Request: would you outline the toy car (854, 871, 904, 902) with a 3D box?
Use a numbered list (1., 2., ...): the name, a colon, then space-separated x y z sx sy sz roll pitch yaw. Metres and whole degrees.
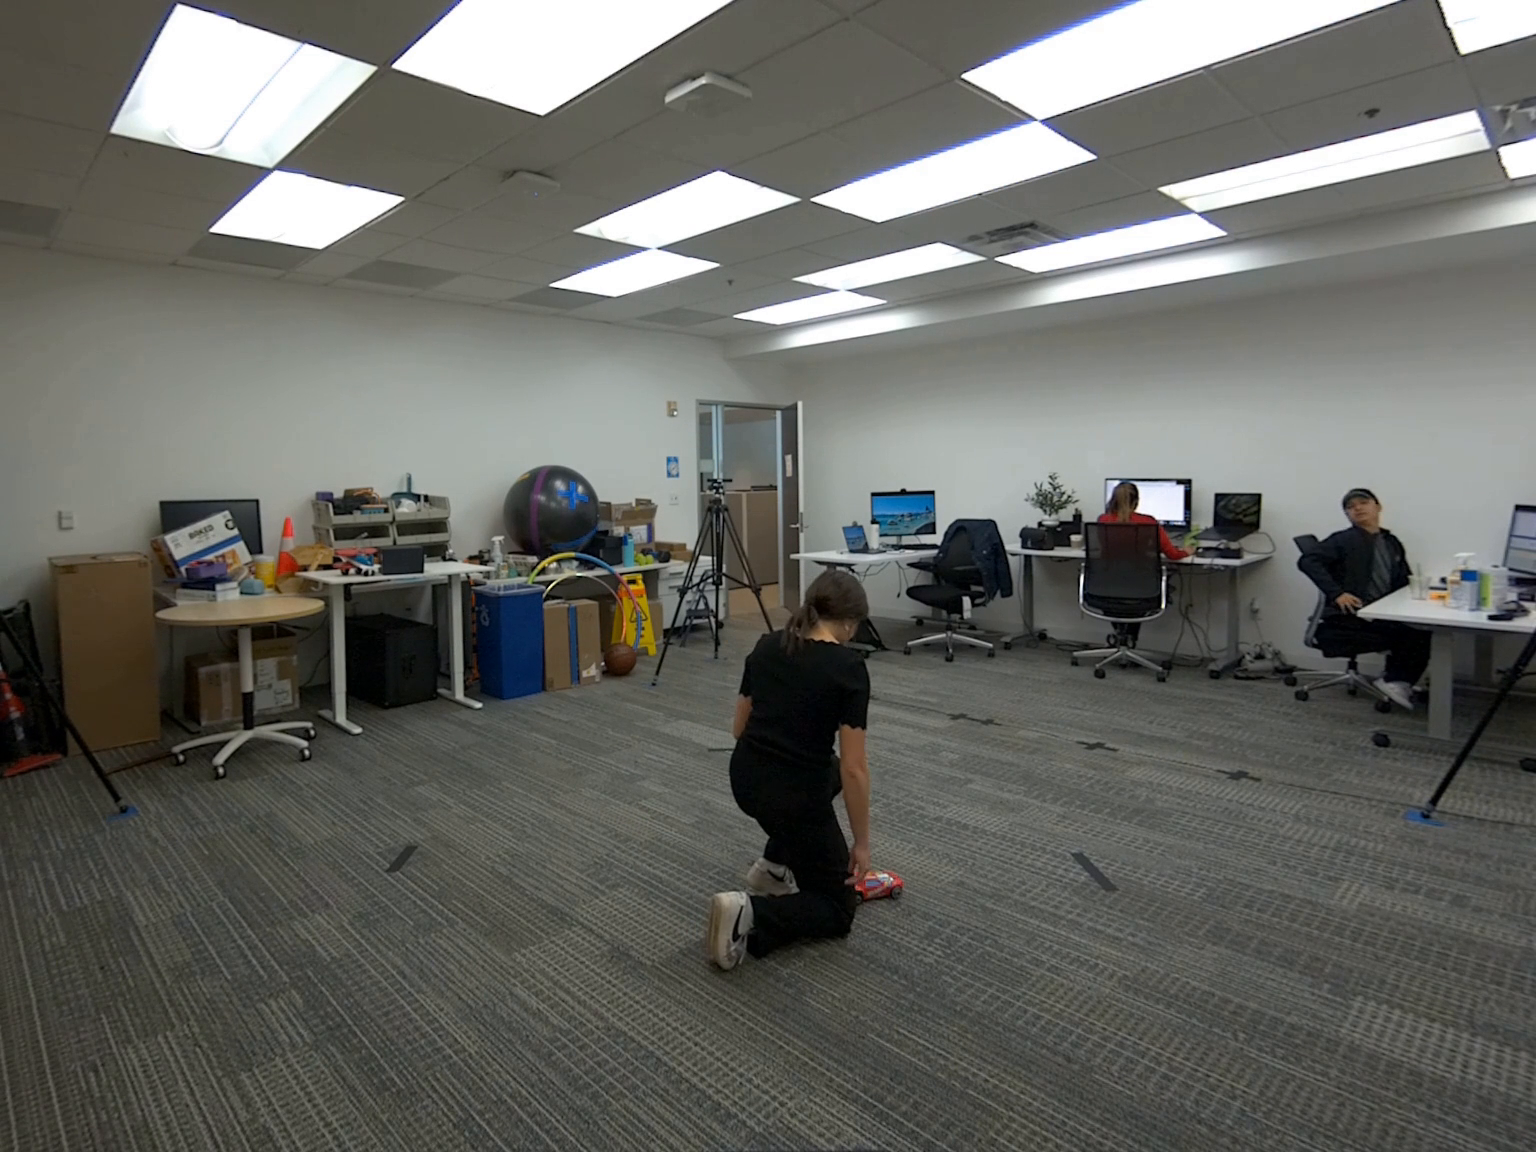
1. toy car: 0.316 1.029 2.846 0.250 0.083 0.133 9 3 -18
